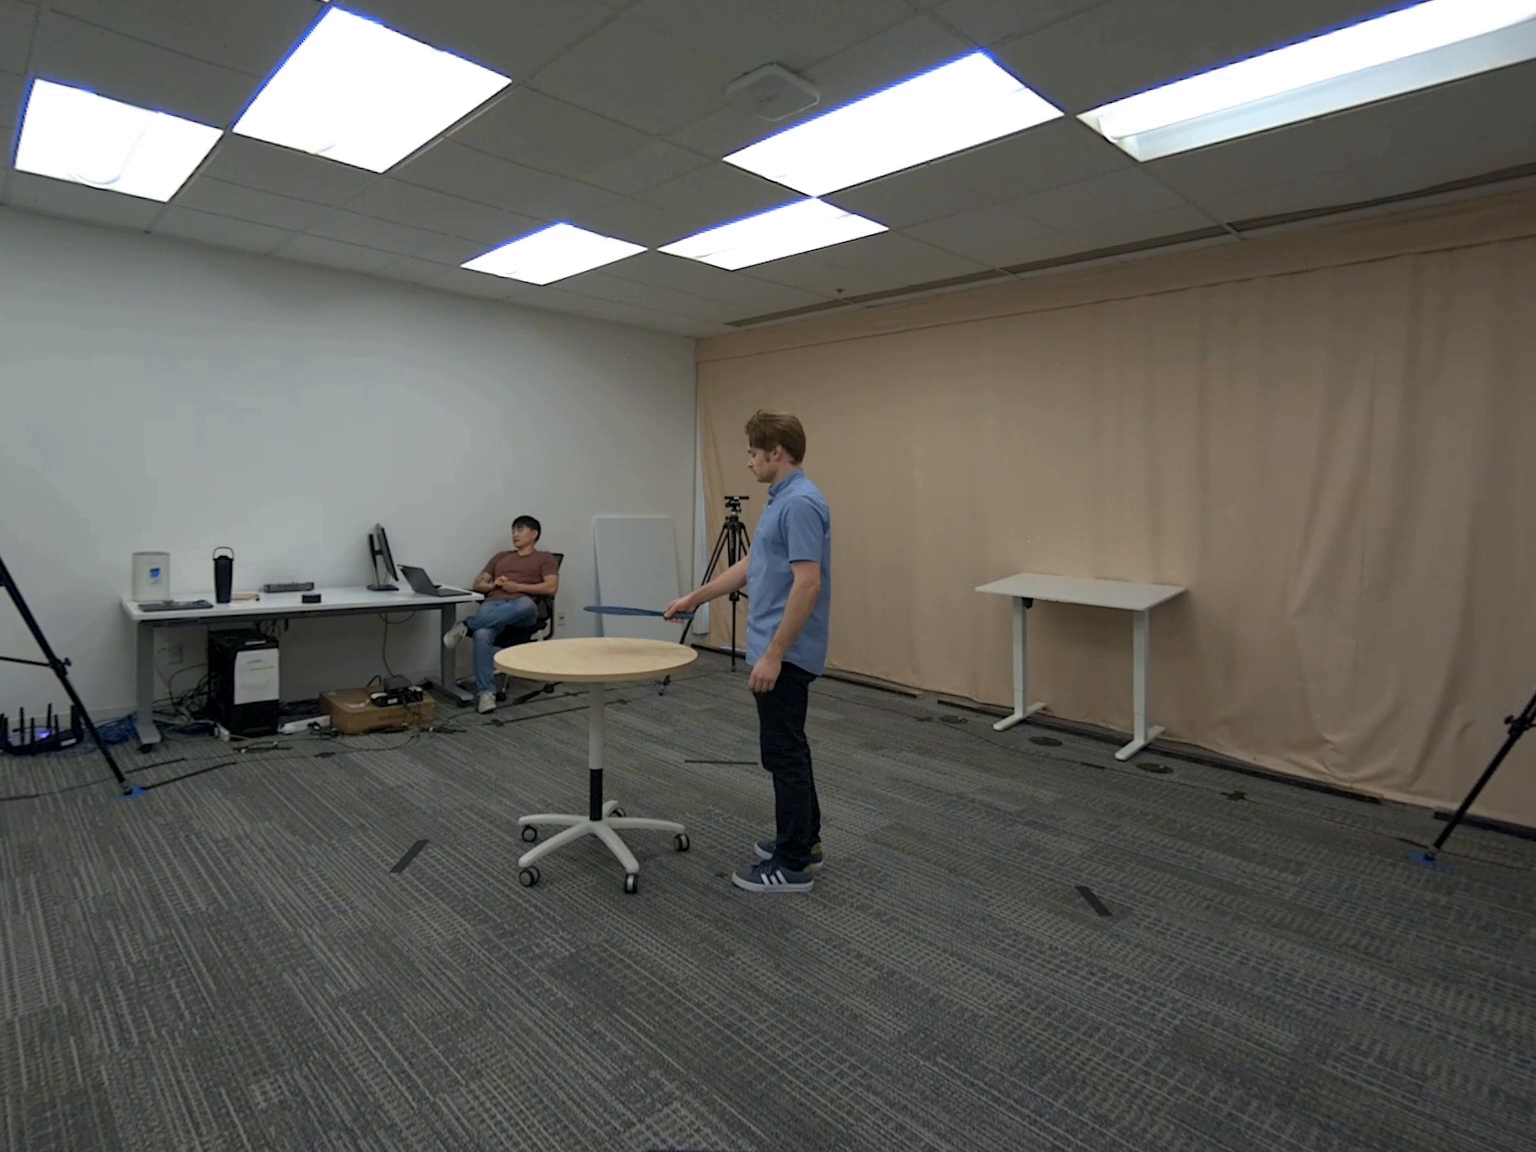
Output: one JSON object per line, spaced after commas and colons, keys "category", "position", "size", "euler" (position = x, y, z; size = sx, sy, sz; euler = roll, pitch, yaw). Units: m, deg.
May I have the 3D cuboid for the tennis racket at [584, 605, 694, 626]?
{"category": "tennis racket", "position": [-0.513, 0.146, 3.317], "size": [0.429, 0.032, 0.214], "euler": [6, -10, -9]}
